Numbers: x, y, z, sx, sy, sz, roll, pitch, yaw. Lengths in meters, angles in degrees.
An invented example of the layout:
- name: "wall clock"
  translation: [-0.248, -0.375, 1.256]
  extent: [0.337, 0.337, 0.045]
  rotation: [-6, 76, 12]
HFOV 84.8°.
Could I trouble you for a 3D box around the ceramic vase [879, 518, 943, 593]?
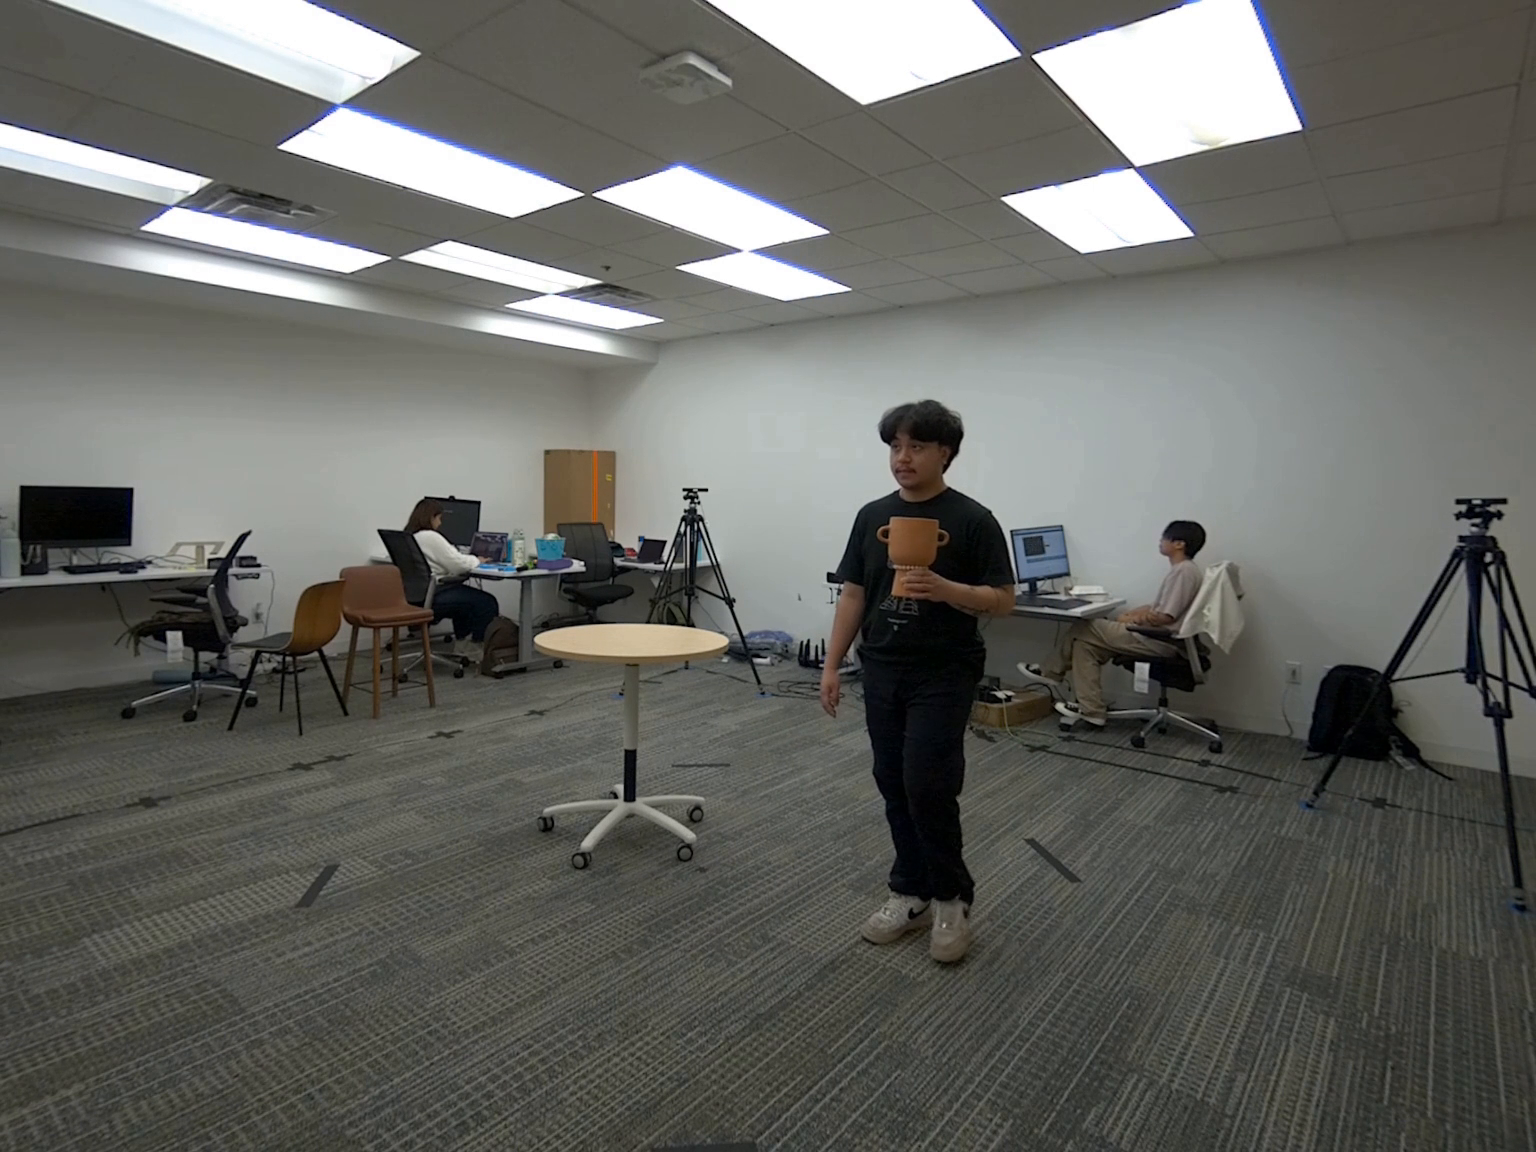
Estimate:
- name: "ceramic vase"
  translation: [0.417, -0.052, 2.403]
  extent: [0.130, 0.220, 0.164]
  rotation: [2, 1, -45]
